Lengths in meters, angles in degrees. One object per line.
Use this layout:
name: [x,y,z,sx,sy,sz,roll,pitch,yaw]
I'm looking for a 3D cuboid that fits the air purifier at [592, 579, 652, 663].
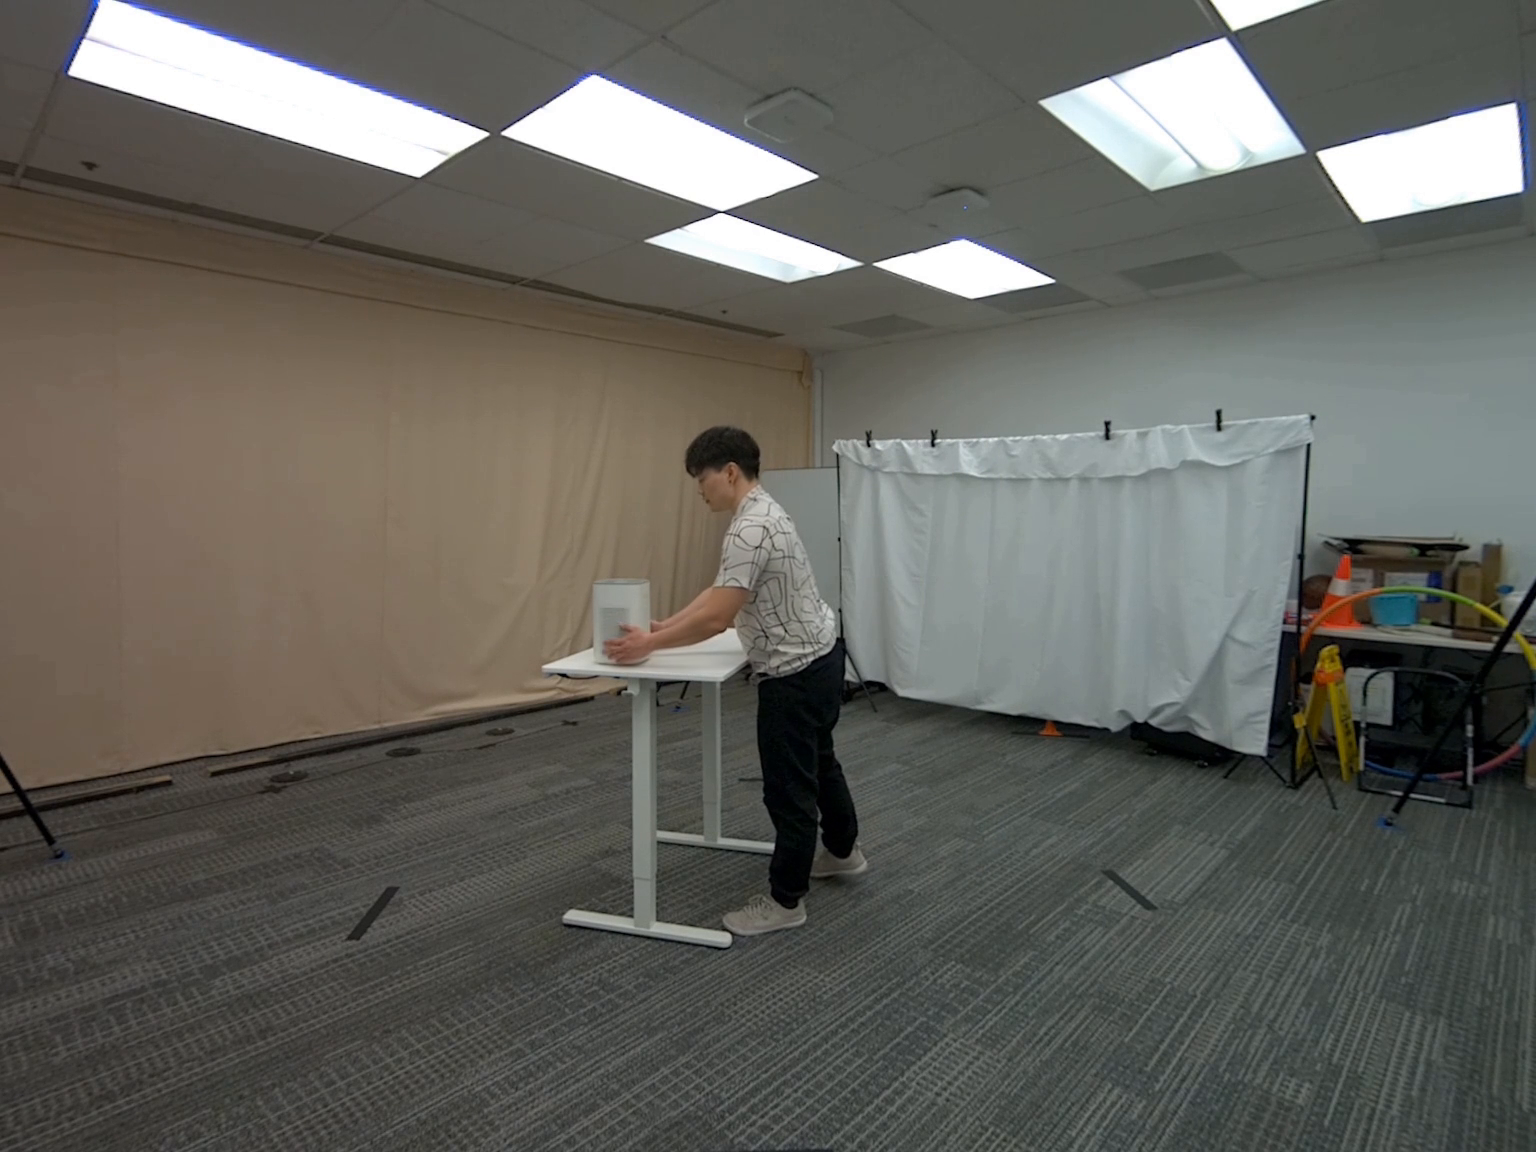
air purifier: [-0.473,0.152,2.772,0.173,0.265,0.170,1,4,5]
